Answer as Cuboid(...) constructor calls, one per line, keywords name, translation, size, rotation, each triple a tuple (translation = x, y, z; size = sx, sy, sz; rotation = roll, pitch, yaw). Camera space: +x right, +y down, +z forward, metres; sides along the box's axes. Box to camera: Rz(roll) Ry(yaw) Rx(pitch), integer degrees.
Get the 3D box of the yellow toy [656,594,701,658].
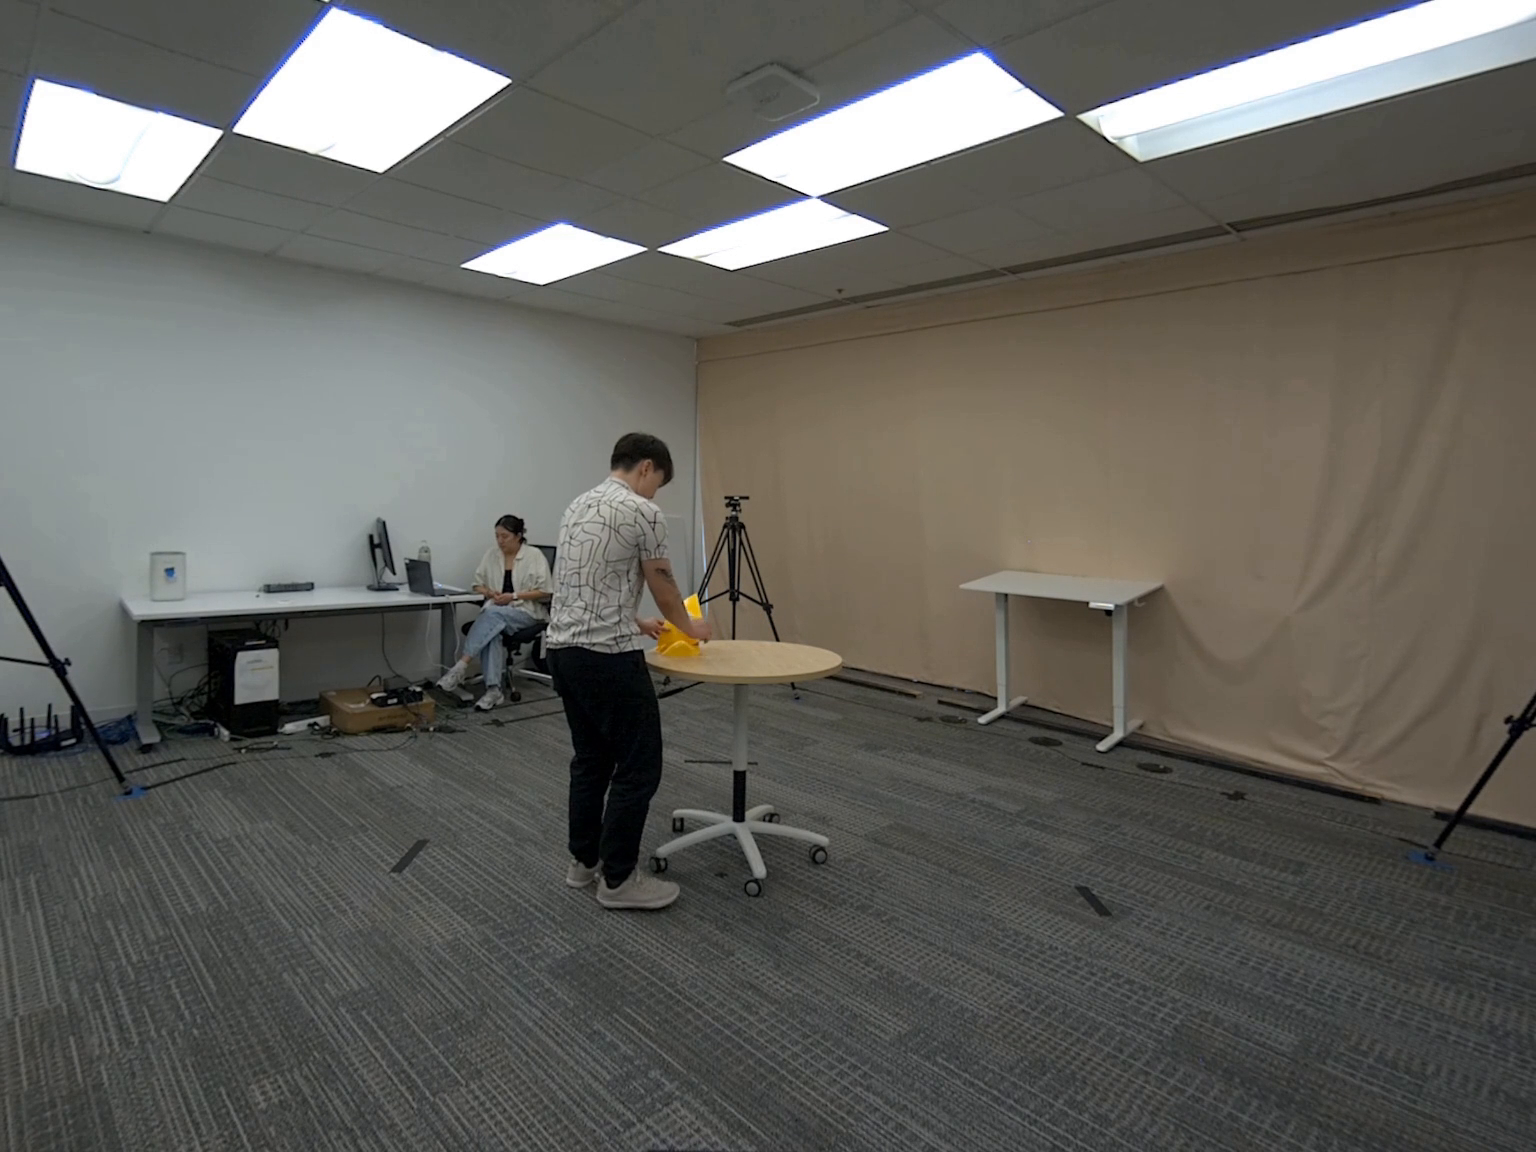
Cuboid(name="yellow toy", translation=(-0.346, 0.186, 3.301), size=(0.191, 0.230, 0.208), rotation=(-1, 4, -17))
